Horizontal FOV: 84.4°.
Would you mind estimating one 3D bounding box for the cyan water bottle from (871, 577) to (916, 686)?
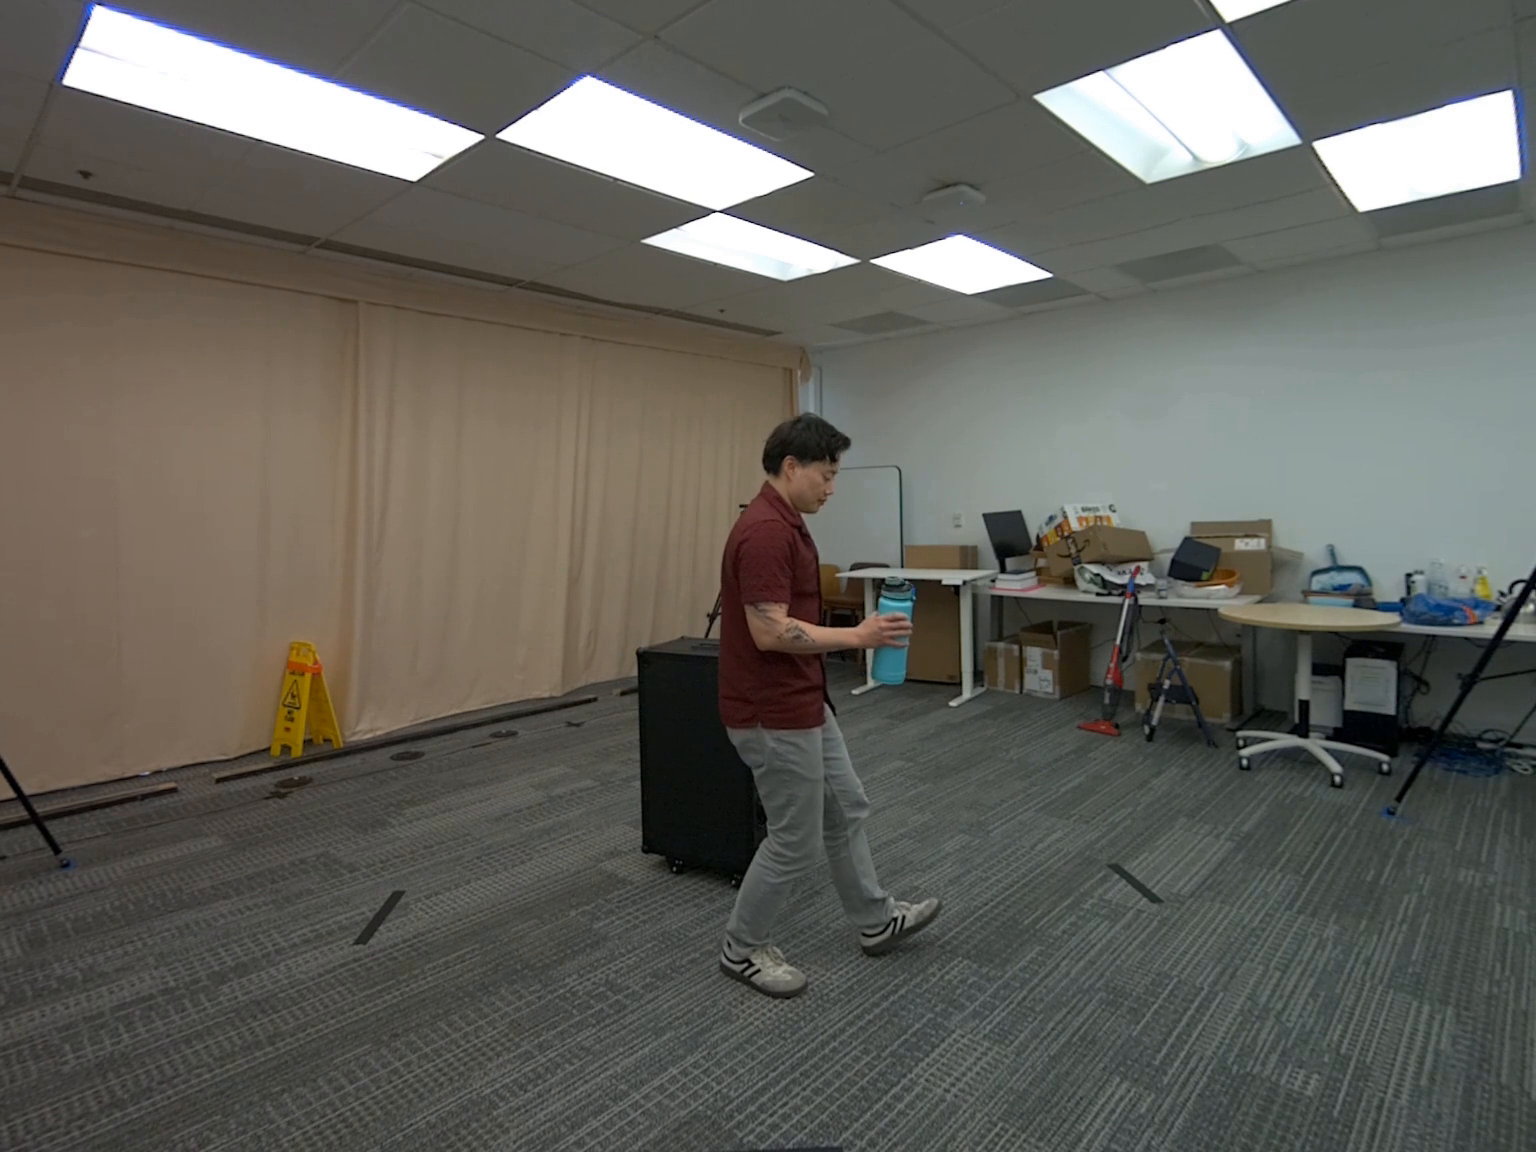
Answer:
[{"bbox_3d":[0.344,0.147,2.230,0.092,0.282,0.093,5,7,-3],"label":"cyan water bottle"}]
